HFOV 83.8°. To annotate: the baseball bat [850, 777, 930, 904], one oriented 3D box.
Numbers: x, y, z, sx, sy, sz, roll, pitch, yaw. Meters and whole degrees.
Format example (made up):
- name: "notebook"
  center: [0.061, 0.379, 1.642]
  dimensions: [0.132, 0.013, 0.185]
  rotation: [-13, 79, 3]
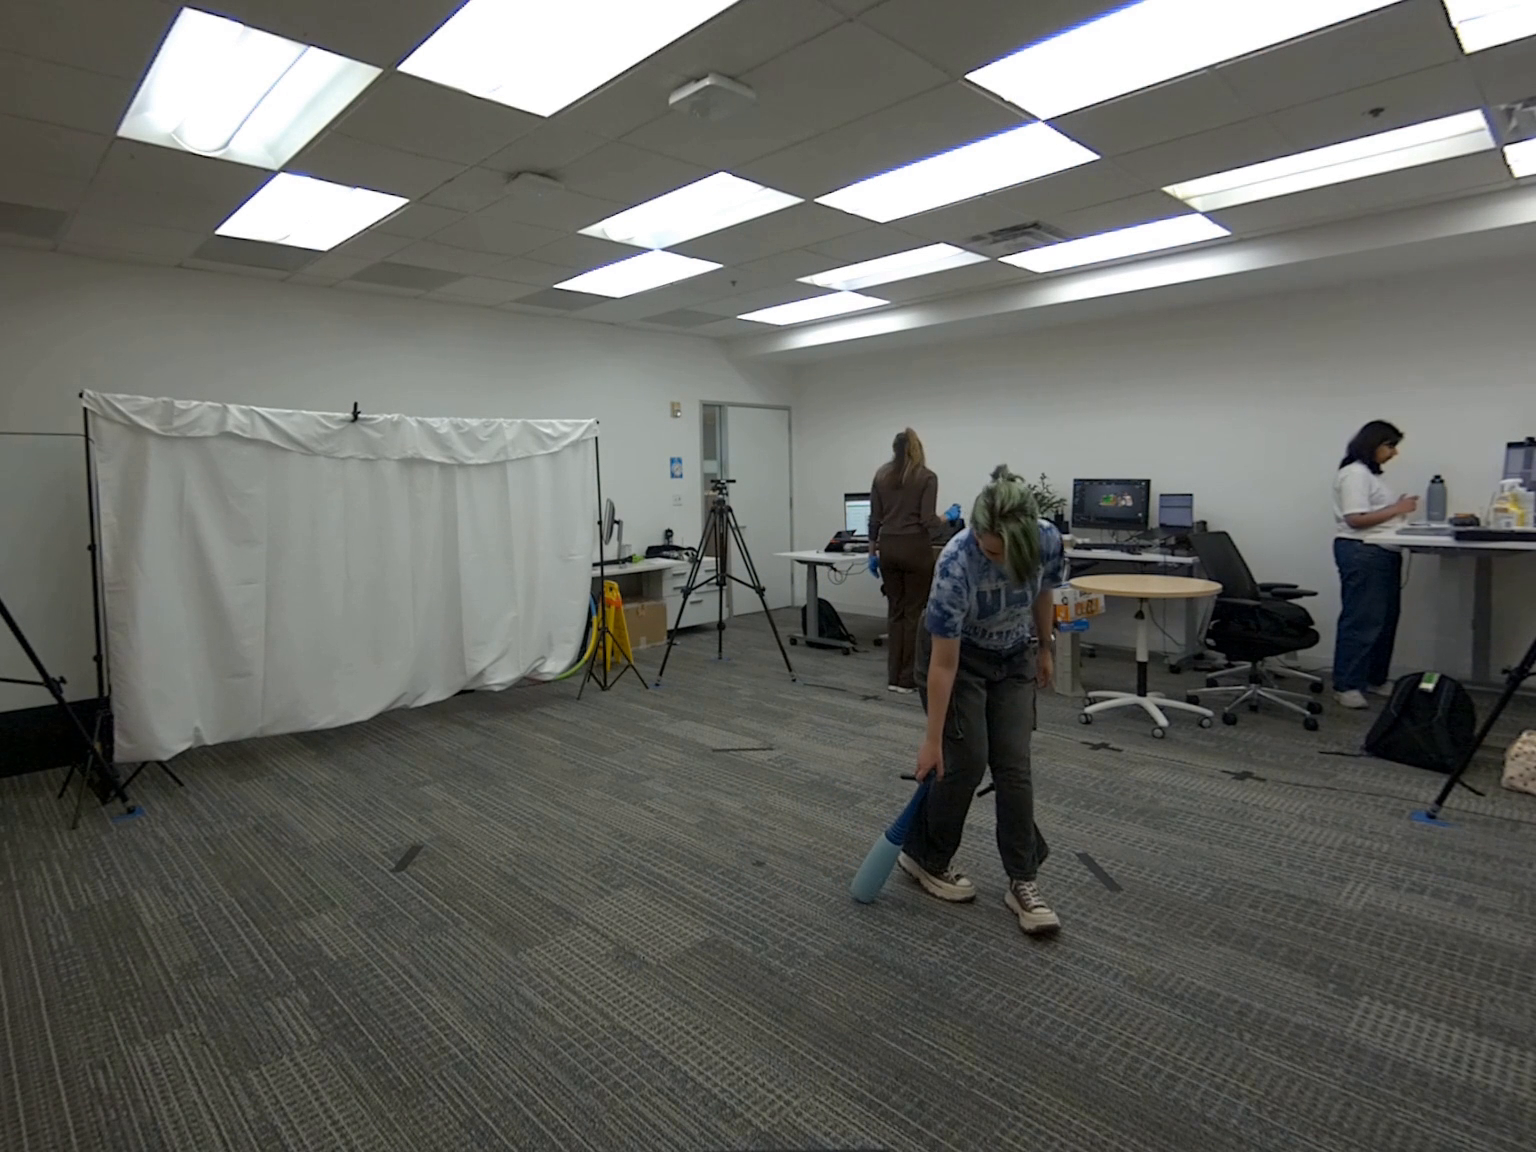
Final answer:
- name: "baseball bat"
  center: [0.428, 0.836, 2.739]
  dimensions: [0.088, 0.539, 0.091]
  rotation: [23, 19, -10]
